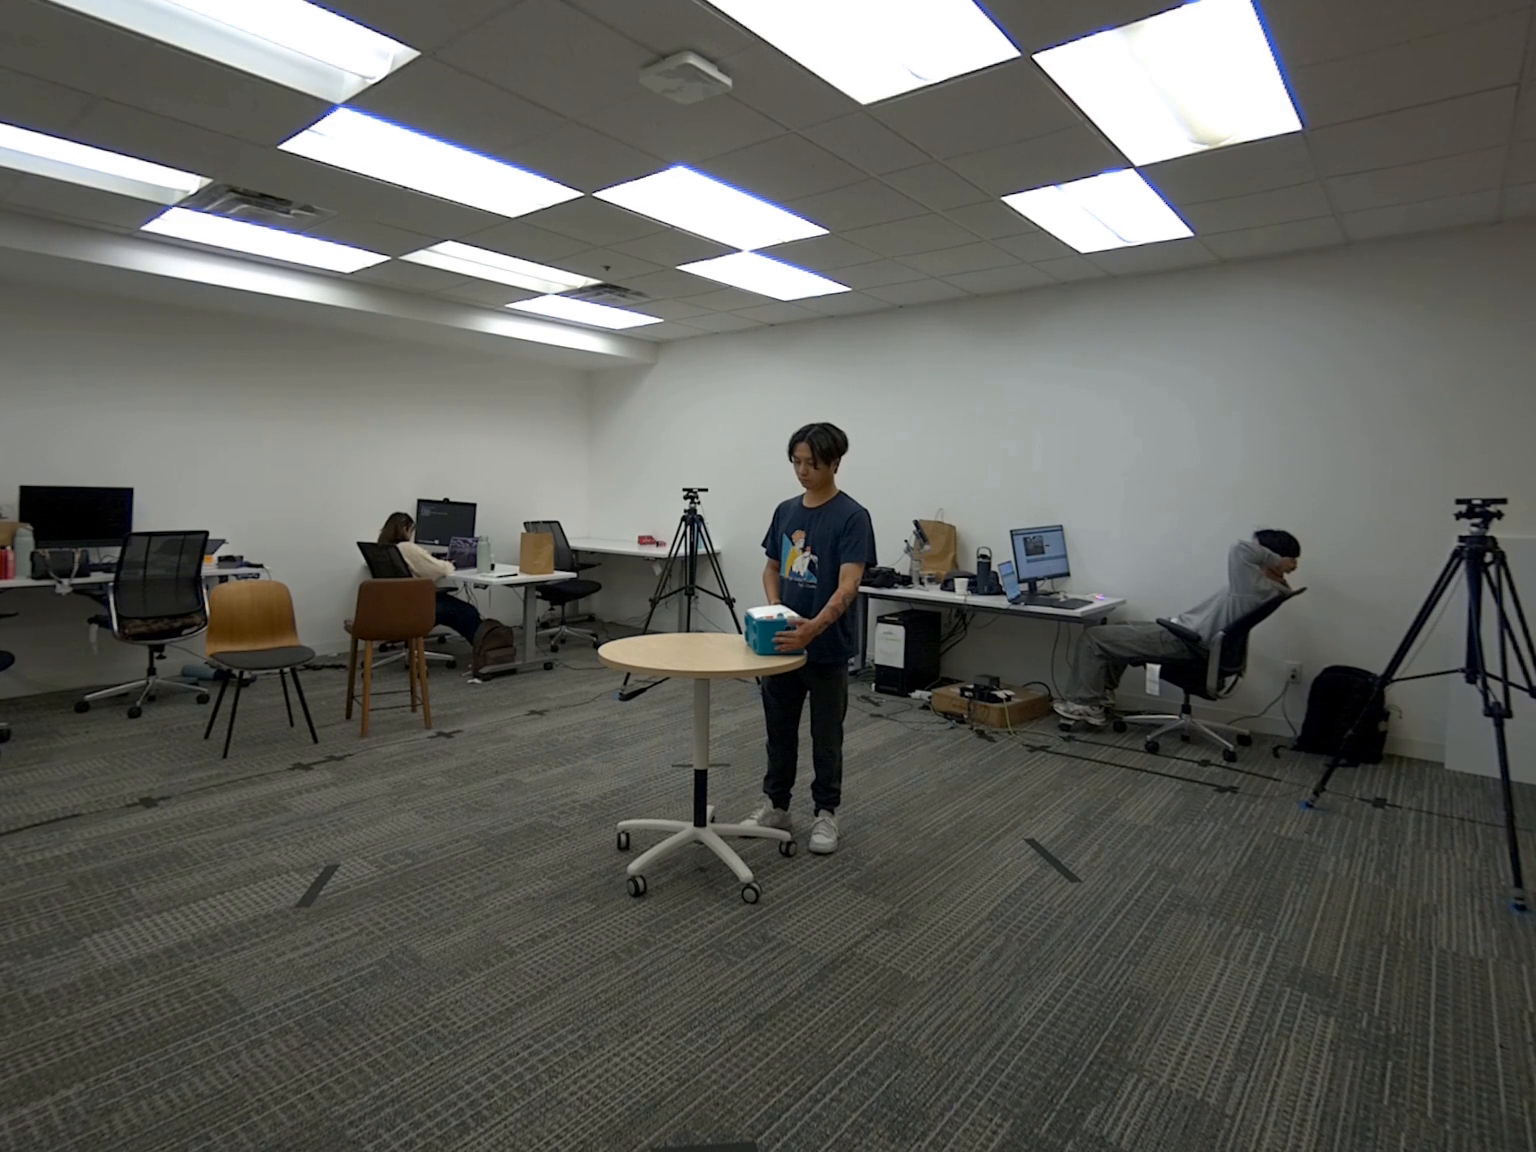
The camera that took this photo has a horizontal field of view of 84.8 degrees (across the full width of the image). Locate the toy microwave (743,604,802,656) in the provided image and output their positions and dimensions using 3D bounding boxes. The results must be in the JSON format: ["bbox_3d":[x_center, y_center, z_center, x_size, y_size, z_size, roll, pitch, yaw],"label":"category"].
[{"bbox_3d":[0.007,0.193,3.173,0.183,0.152,0.289,-2,4,-7],"label":"toy microwave"}]
